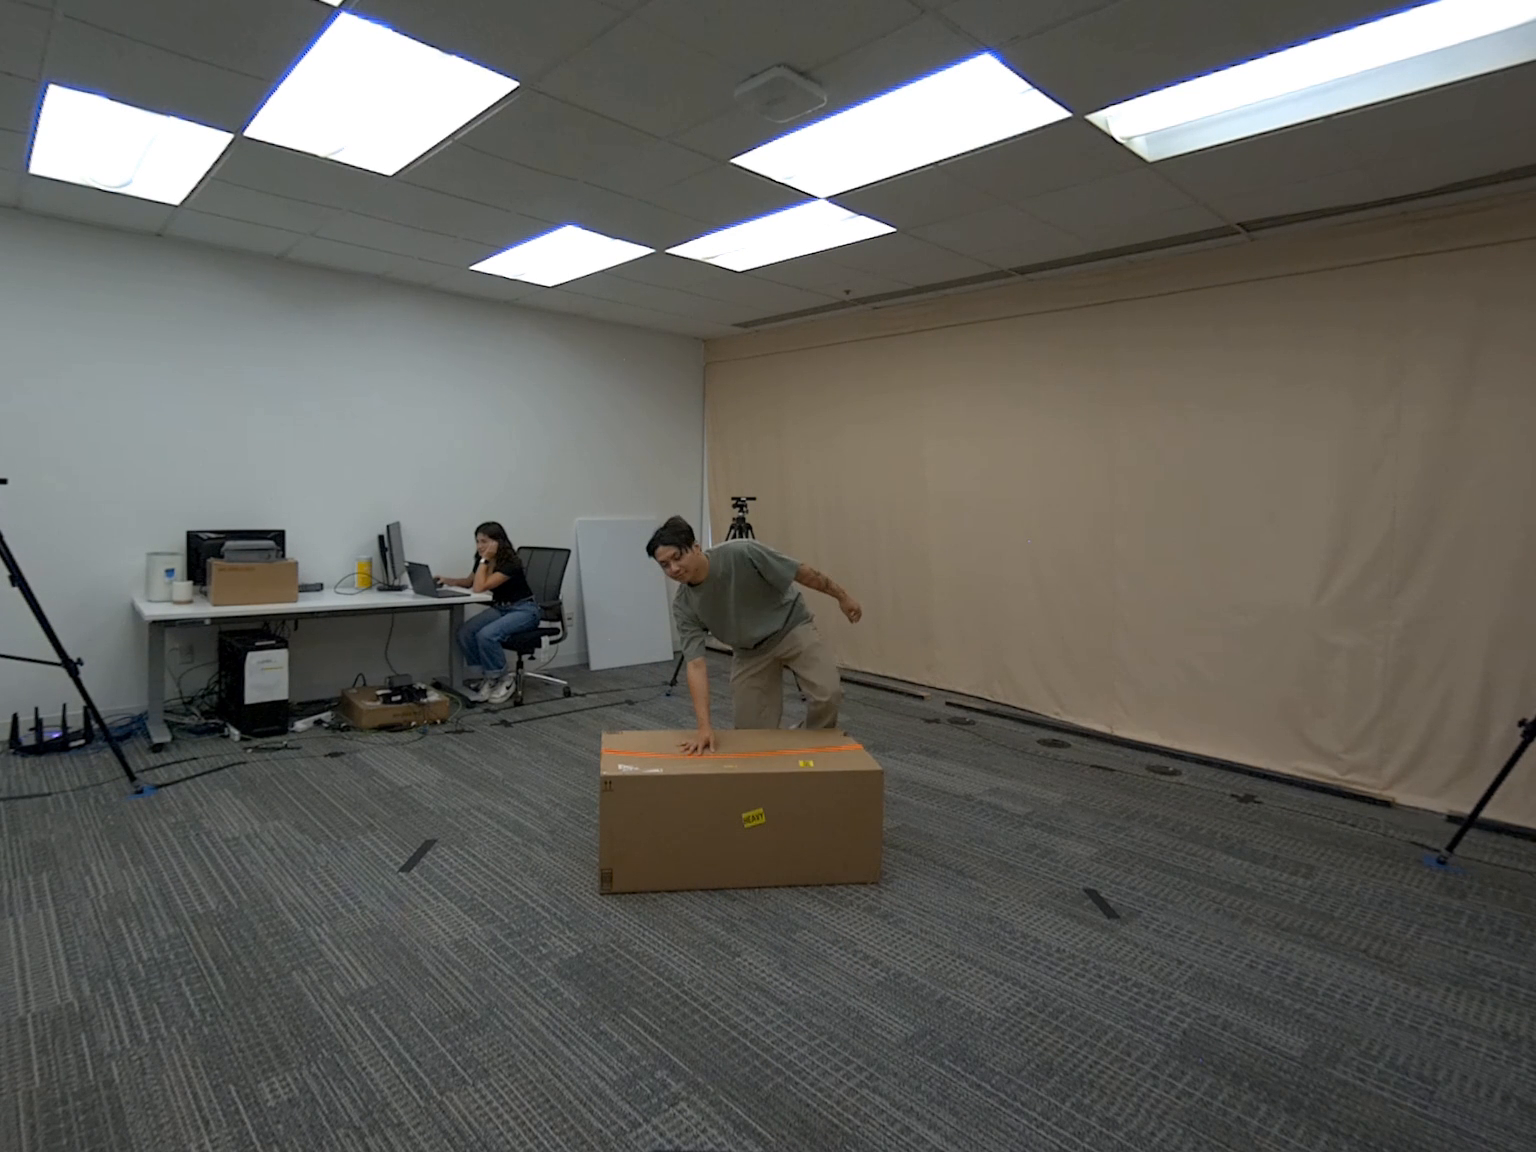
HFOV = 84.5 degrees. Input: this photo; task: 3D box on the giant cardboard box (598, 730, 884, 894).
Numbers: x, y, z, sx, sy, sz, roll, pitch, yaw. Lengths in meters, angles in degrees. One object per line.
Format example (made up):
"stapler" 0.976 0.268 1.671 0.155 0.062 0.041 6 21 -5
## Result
"giant cardboard box" -0.145 0.879 3.269 1.019 0.425 0.583 1 4 -8
